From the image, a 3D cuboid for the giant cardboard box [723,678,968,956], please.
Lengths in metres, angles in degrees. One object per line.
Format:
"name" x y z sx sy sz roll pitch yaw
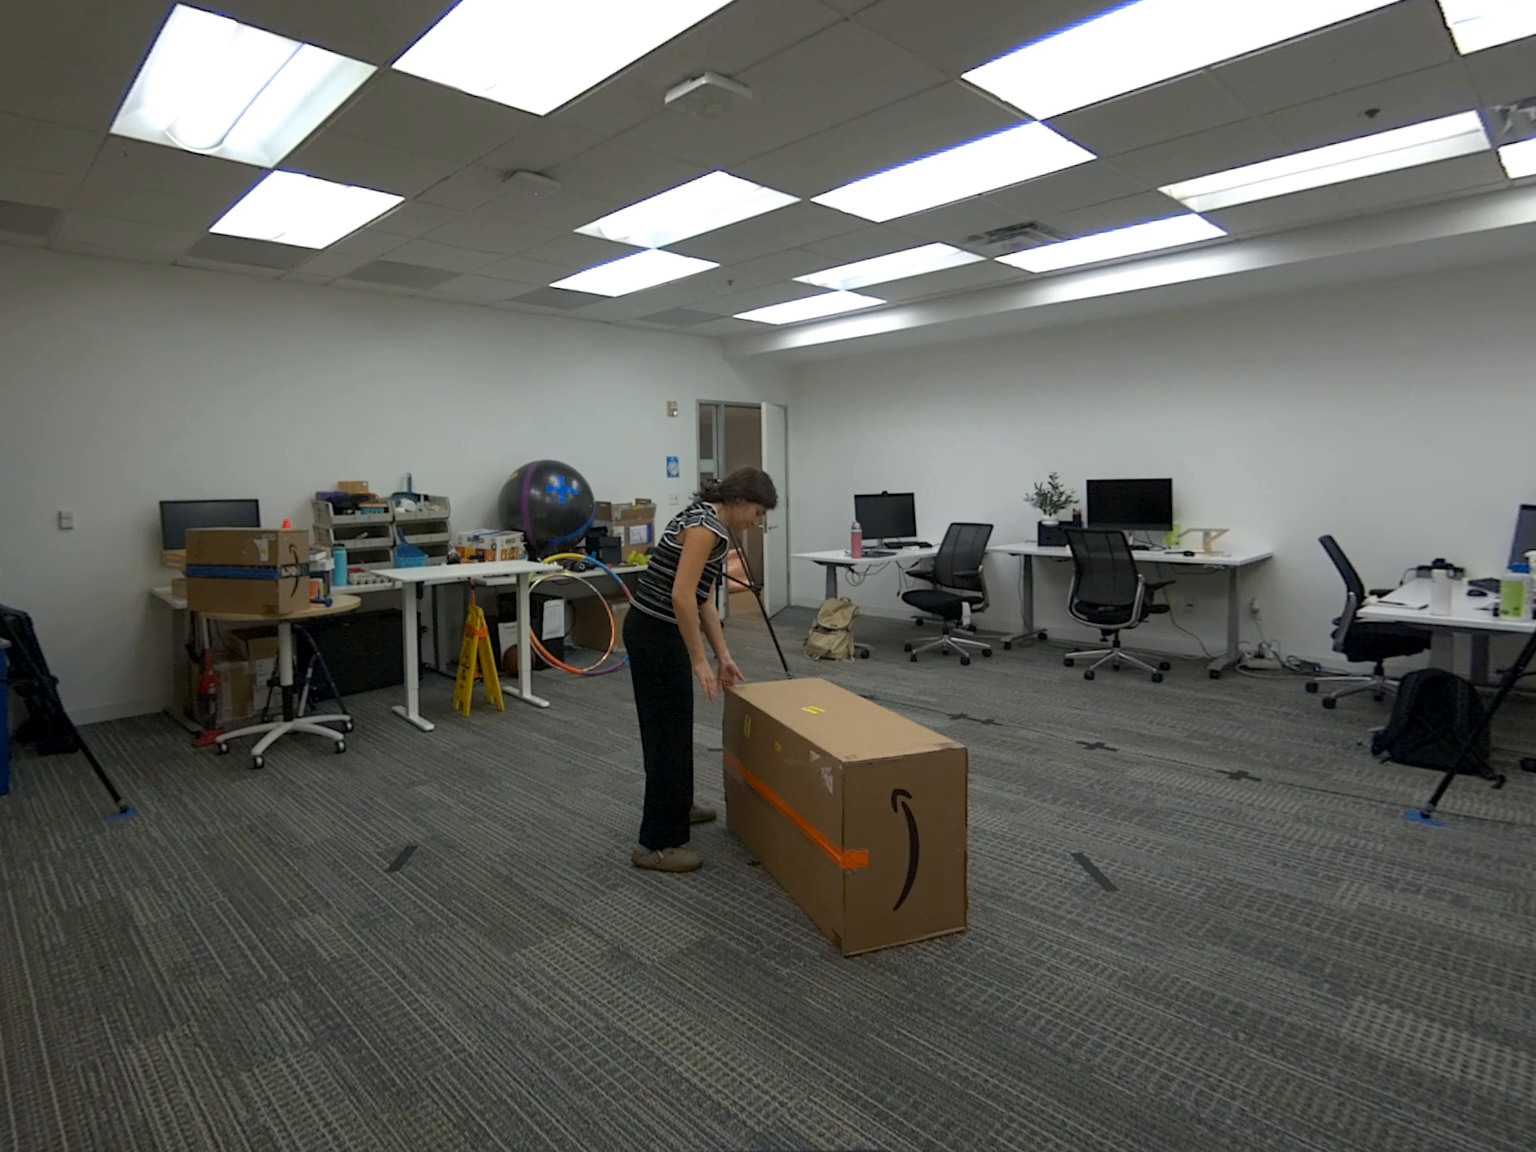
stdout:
"giant cardboard box" 0.224 0.765 3.009 0.418 0.575 1.049 -2 5 -21
